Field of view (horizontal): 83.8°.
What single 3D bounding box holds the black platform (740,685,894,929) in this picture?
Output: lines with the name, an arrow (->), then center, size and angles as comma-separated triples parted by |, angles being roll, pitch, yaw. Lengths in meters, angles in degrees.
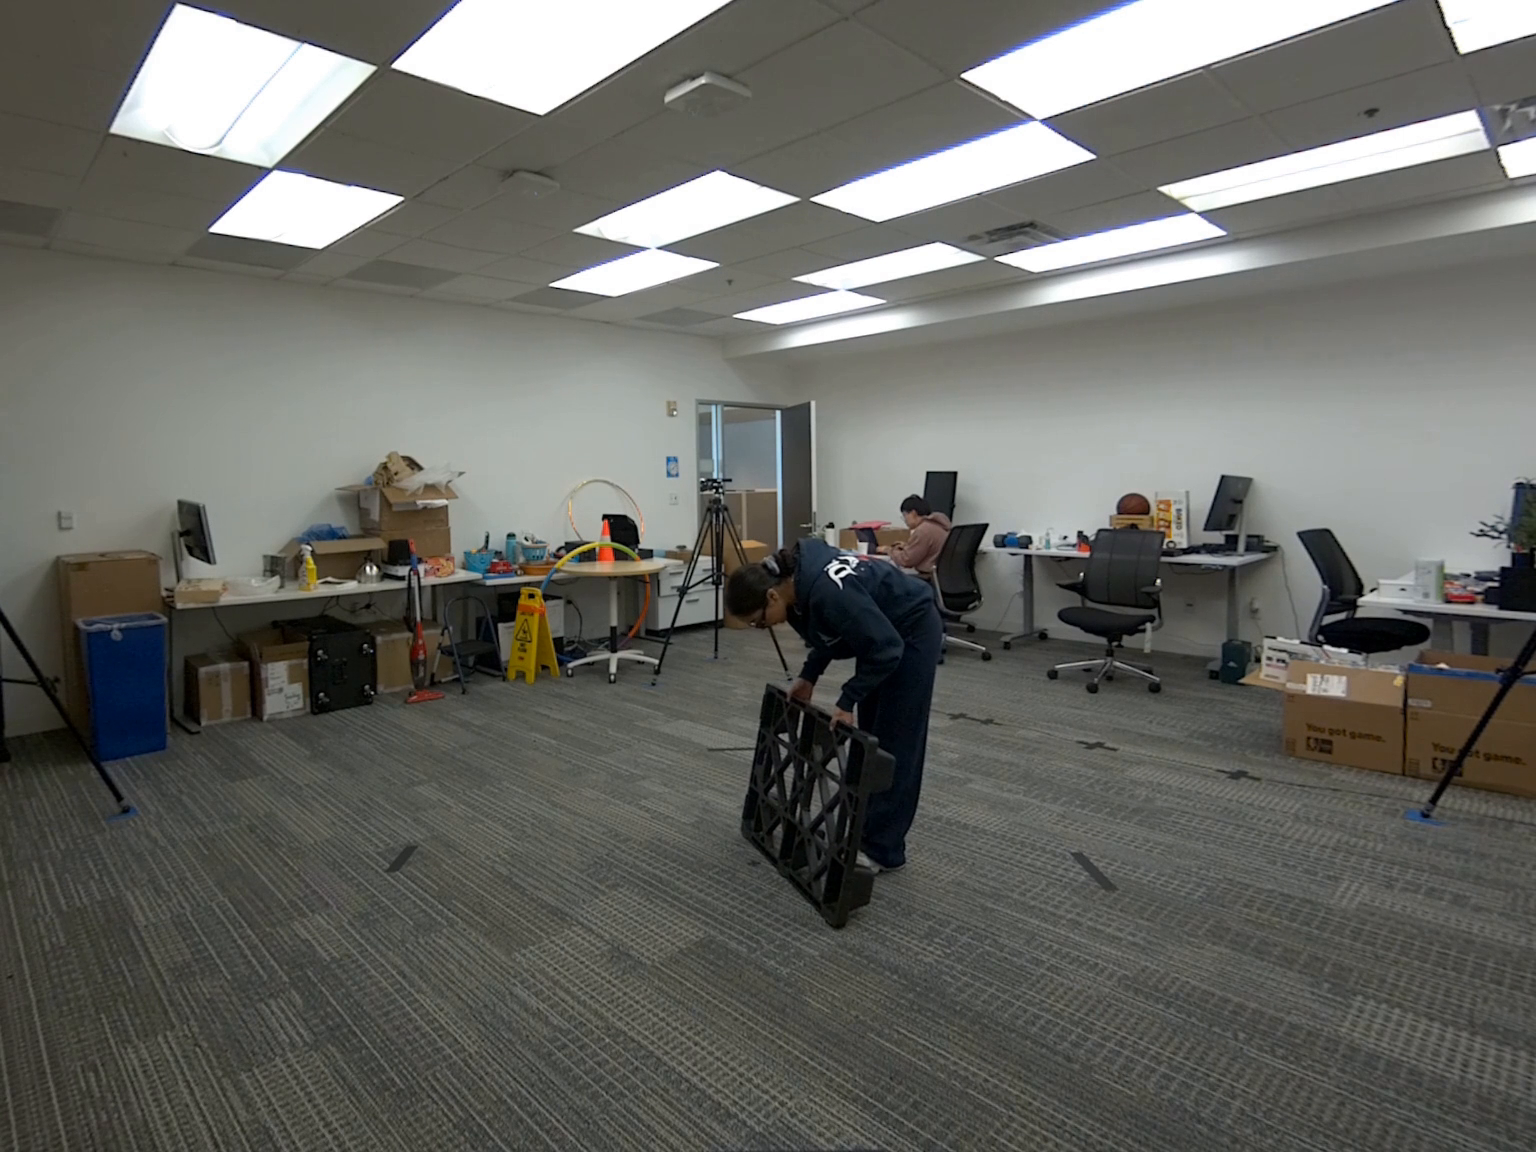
black platform -> 0.161, 0.767, 3.024 | 0.140, 0.605, 0.824 | 11, 1, -23
